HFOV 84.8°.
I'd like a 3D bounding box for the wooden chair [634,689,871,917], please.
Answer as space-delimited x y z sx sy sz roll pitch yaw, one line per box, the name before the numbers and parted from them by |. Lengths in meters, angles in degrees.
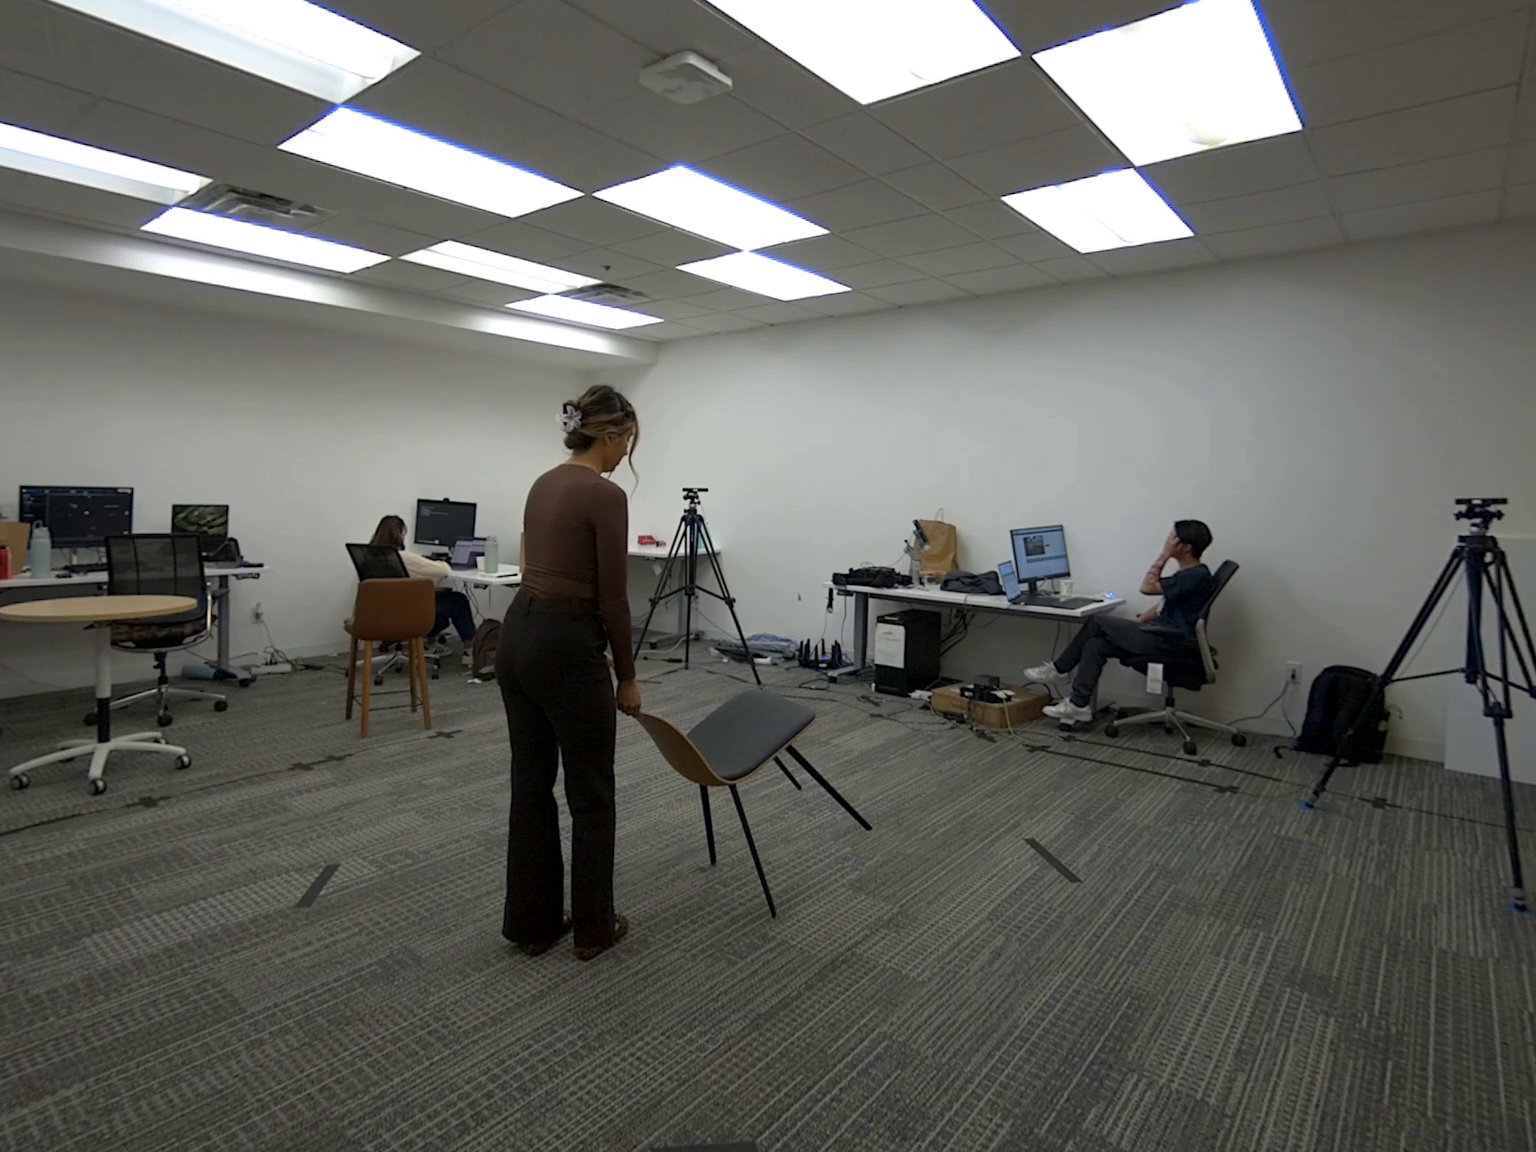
wooden chair | -0.110 0.601 2.925 0.520 0.857 0.492 -38 20 -21
